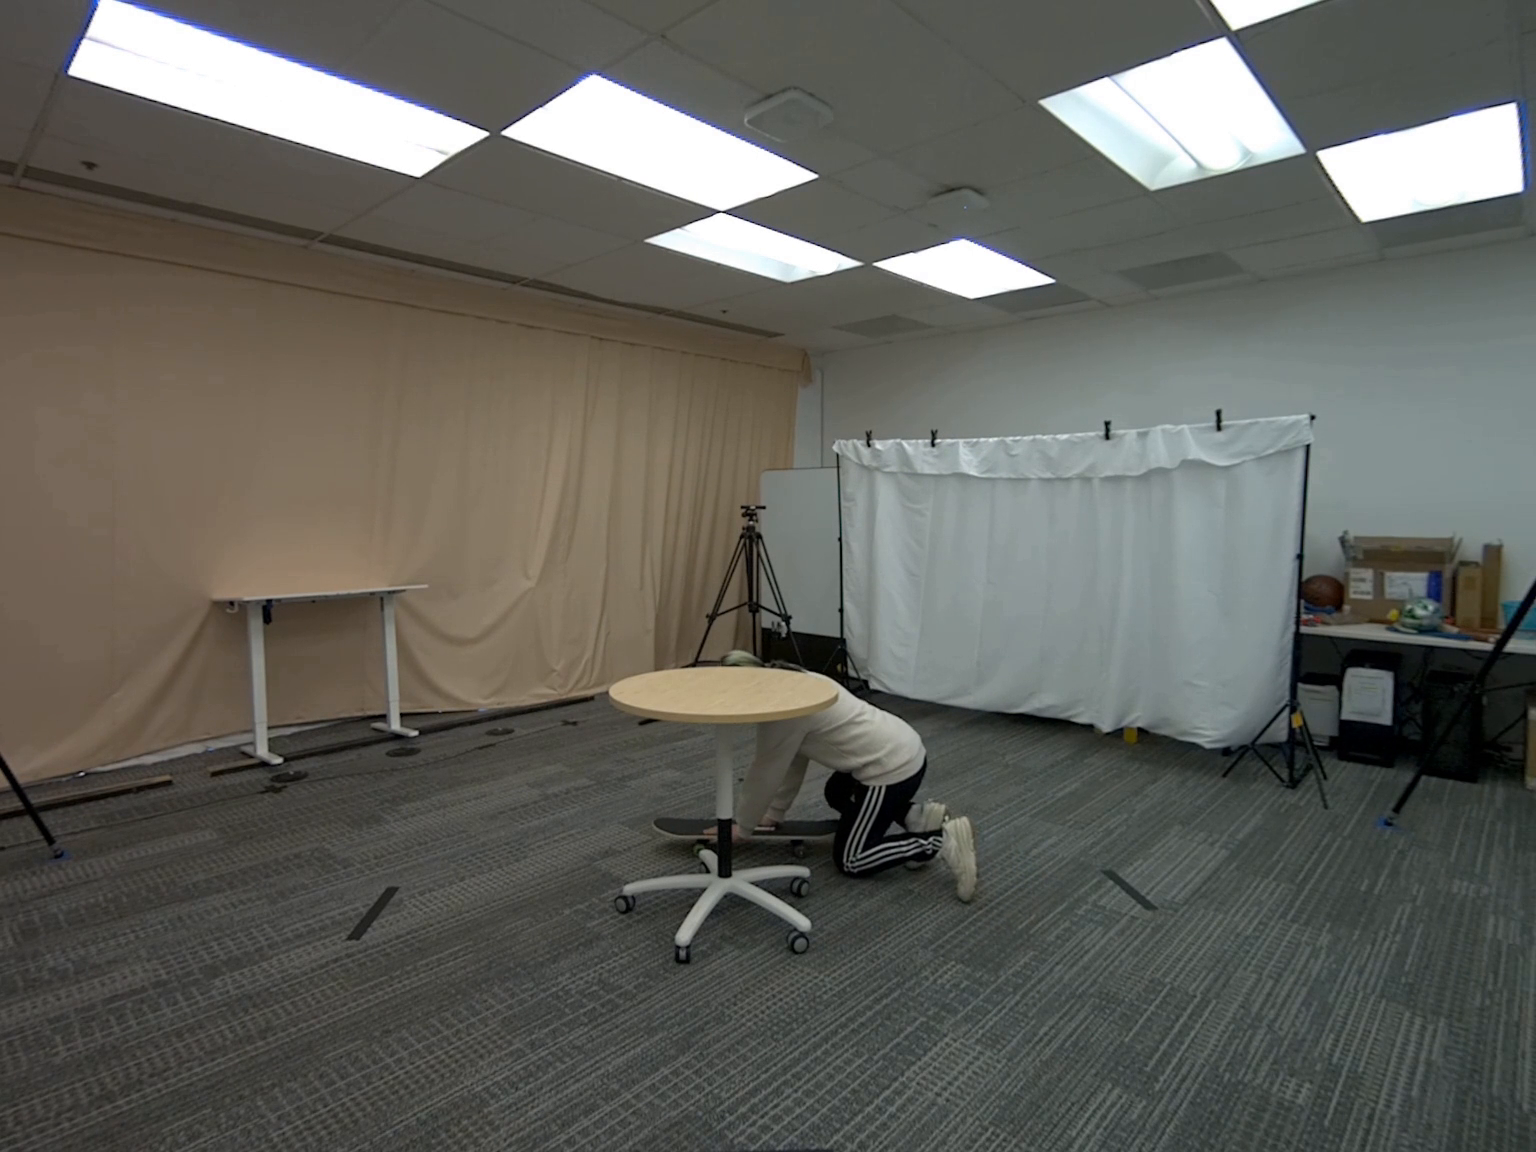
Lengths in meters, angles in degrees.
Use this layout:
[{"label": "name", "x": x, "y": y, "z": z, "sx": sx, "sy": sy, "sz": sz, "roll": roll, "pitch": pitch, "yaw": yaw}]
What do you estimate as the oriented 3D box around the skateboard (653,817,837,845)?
[{"label": "skateboard", "x": -0.066, "y": 1.059, "z": 3.411, "sx": 0.787, "sy": 0.110, "sz": 0.193, "roll": 0, "pitch": 3, "yaw": 2}]
